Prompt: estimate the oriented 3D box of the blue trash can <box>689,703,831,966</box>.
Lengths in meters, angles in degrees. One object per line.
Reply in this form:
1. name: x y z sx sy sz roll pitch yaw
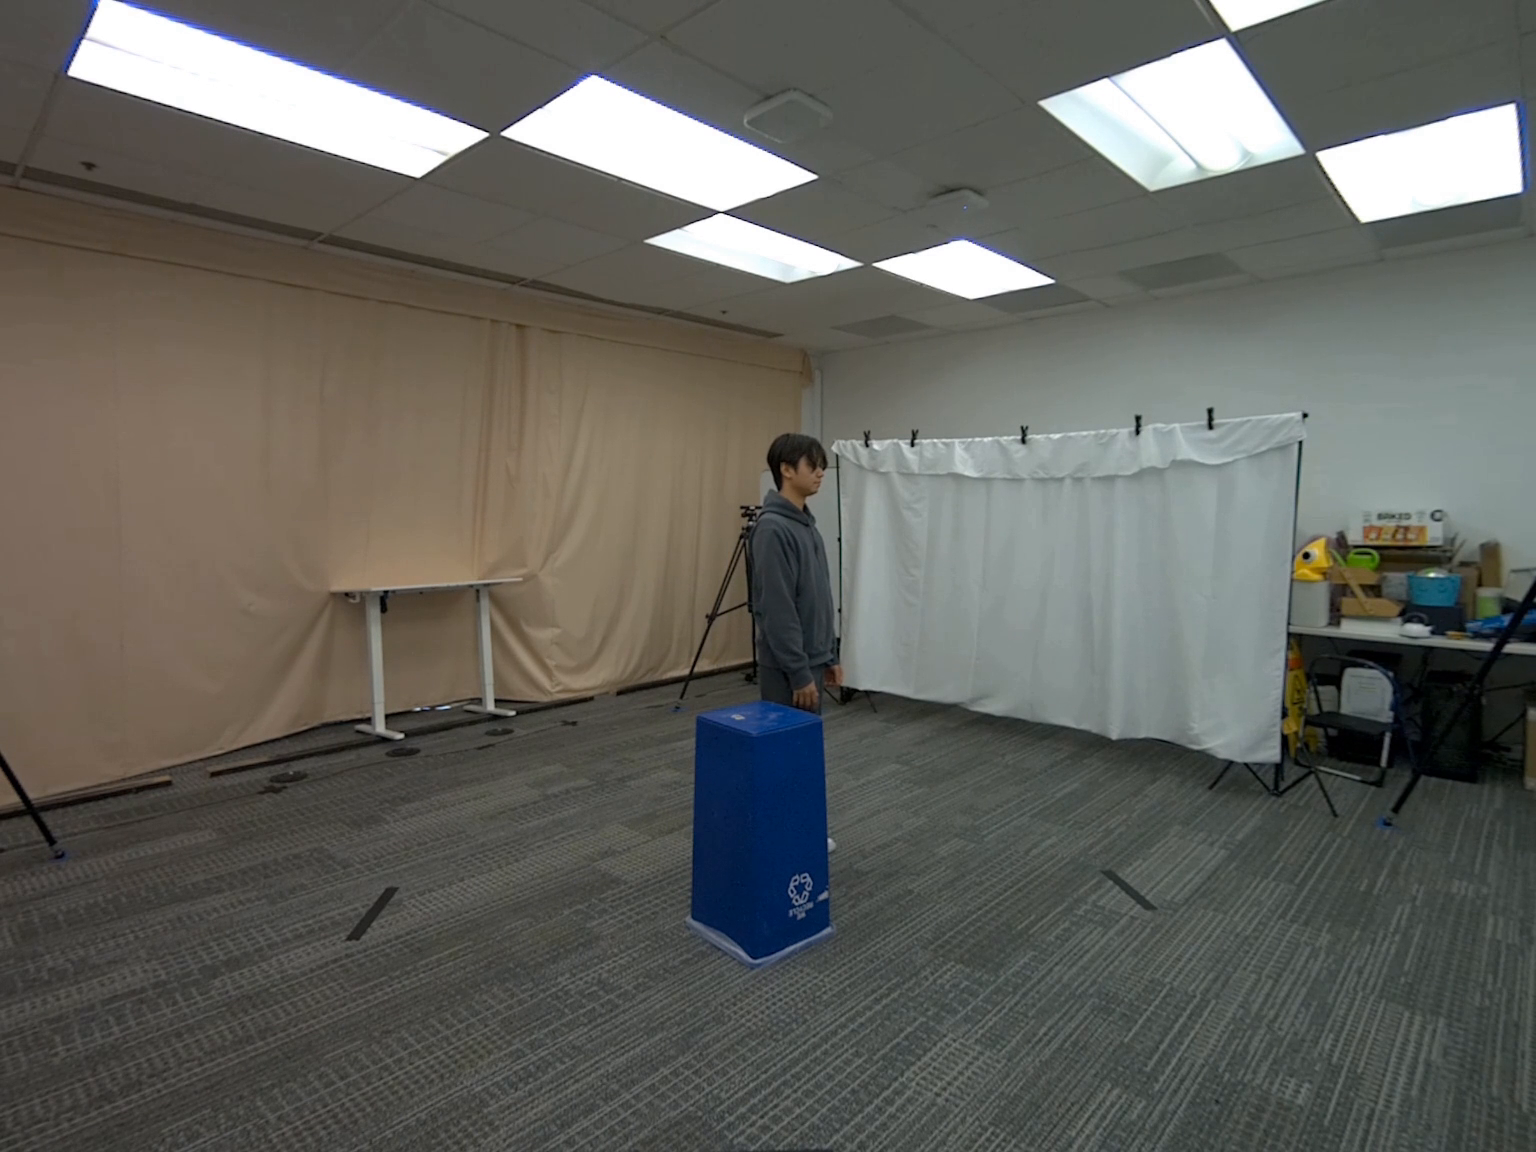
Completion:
1. blue trash can: -0.034 0.808 2.754 0.363 0.712 0.390 -3 4 -40
